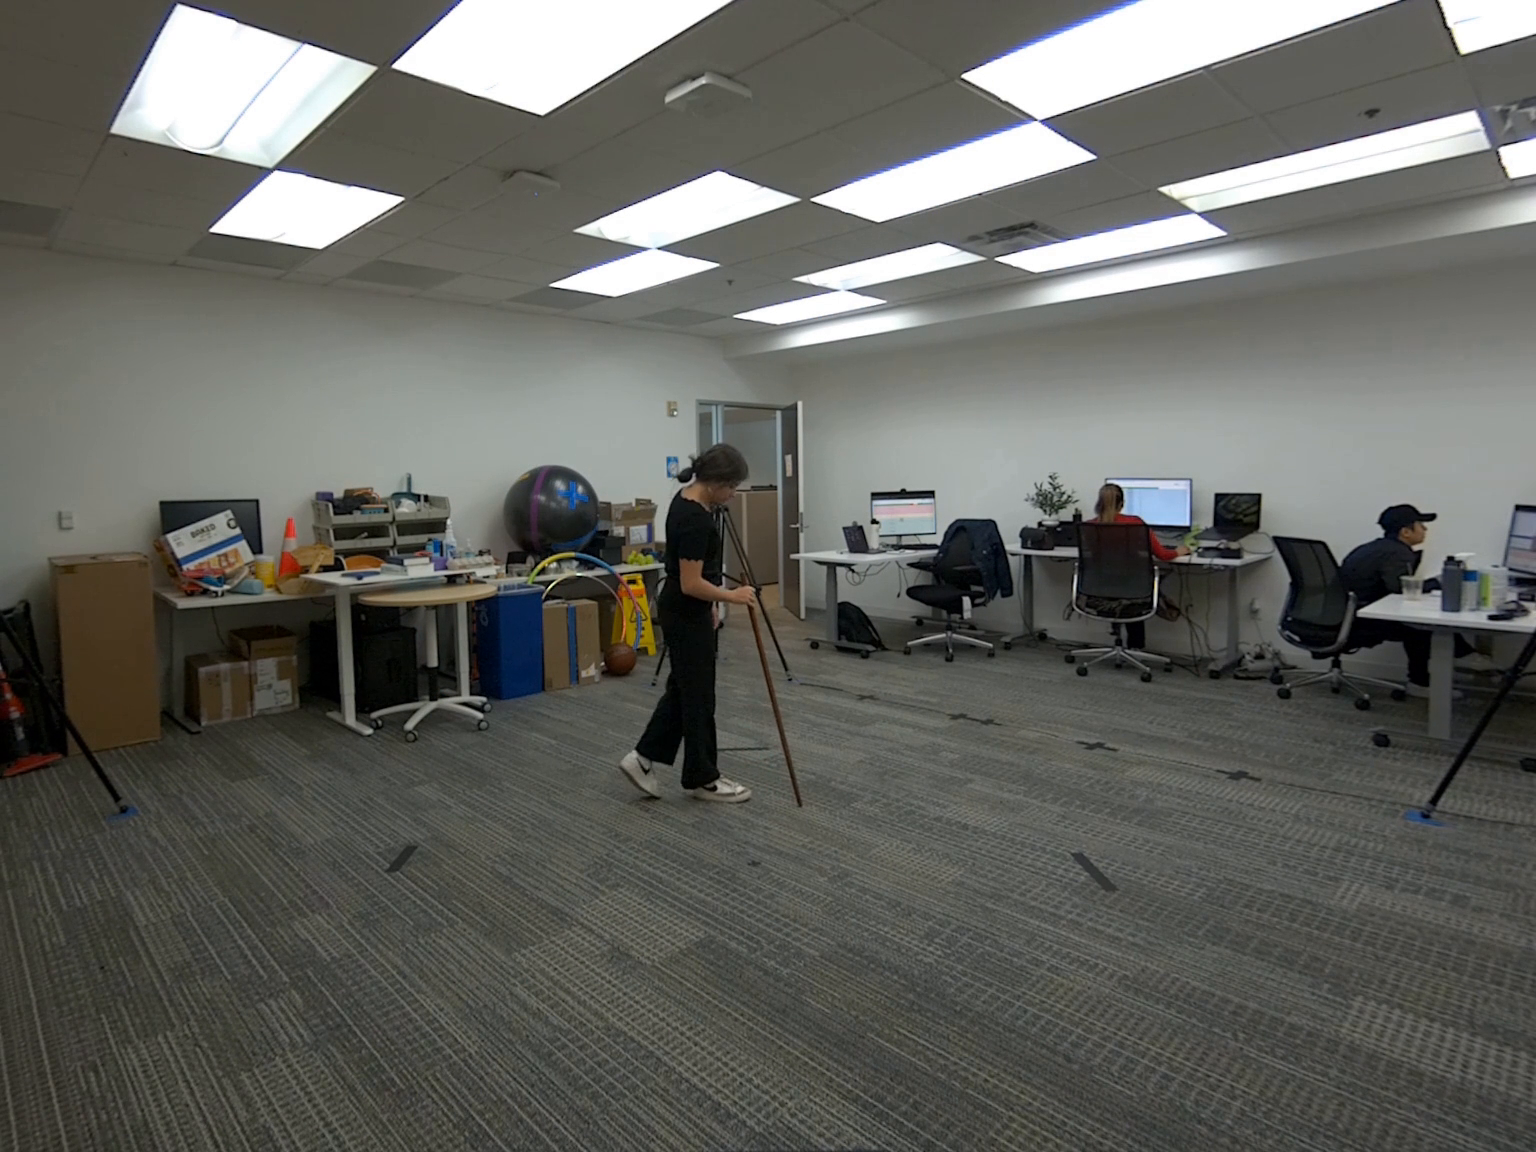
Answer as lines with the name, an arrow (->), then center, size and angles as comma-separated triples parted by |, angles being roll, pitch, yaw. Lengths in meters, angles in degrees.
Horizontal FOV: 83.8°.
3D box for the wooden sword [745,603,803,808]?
wooden sword -> 0.009, 0.508, 3.663 | 0.024, 1.027, 0.051 | -14, -2, -3
